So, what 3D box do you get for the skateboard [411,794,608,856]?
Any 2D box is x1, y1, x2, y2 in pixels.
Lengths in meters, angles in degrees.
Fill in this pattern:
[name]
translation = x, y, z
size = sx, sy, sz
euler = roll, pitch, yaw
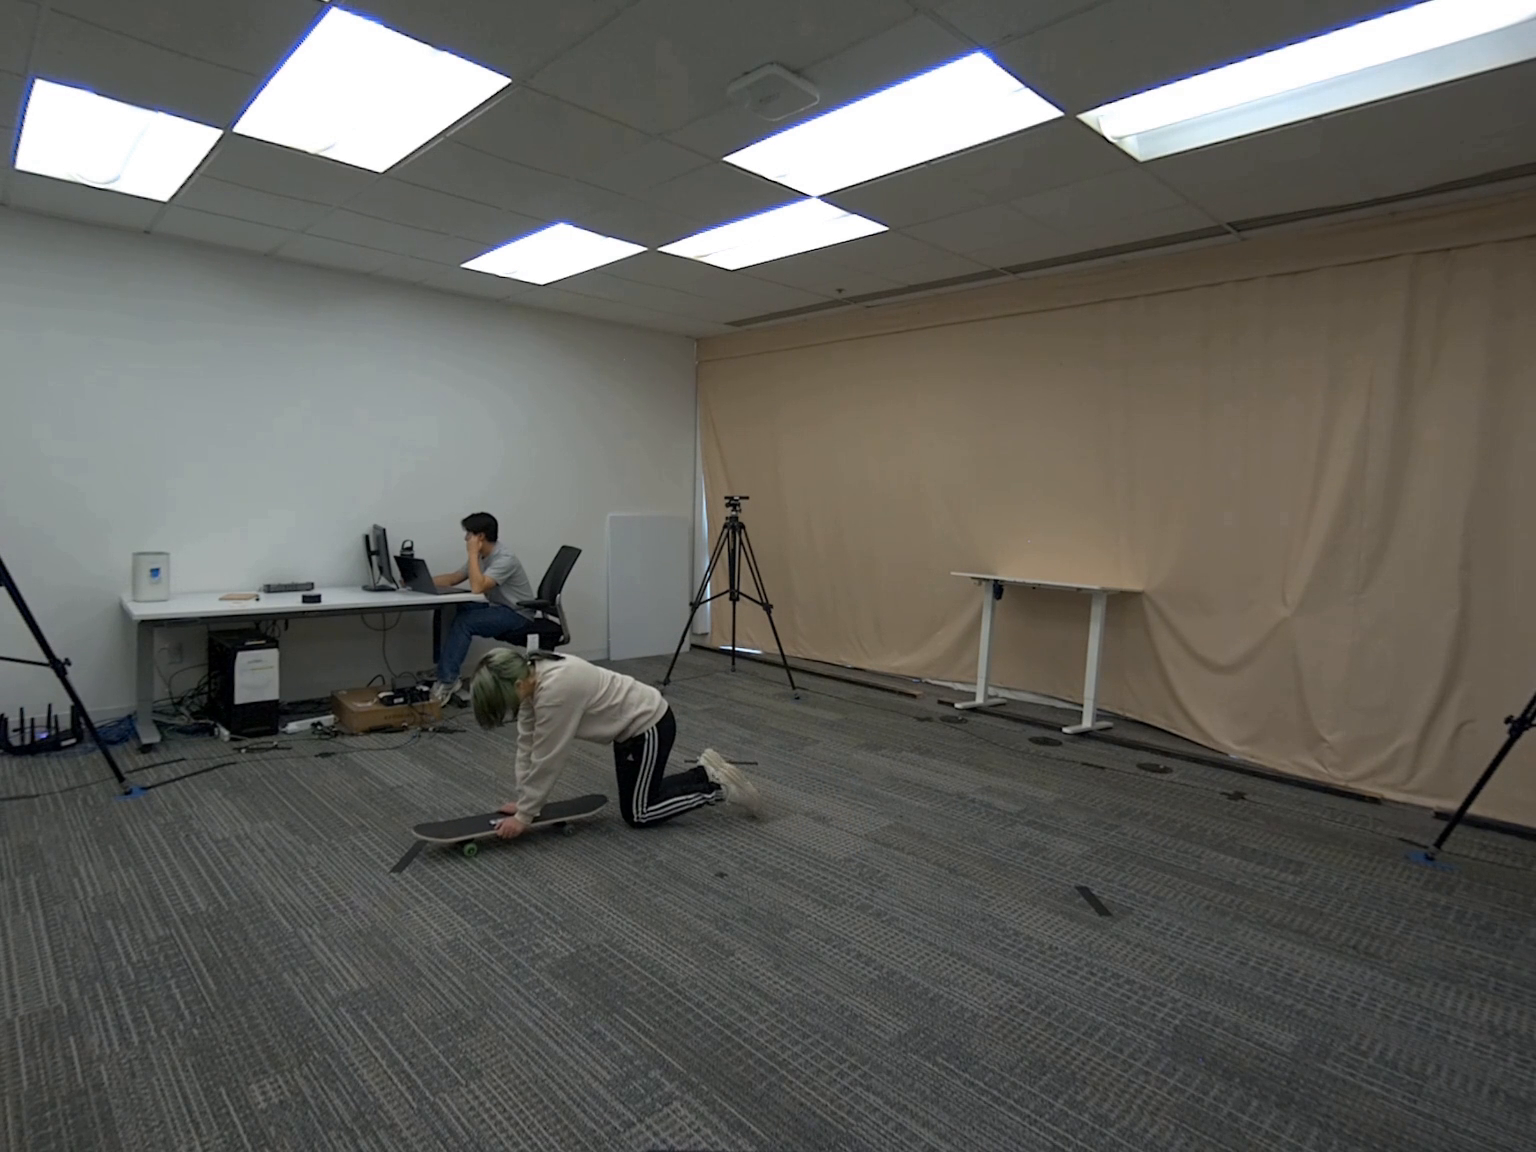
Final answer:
[skateboard]
translation = -1.025, 1.005, 3.383
size = 0.769, 0.110, 0.198
euler = -1, 6, -33
